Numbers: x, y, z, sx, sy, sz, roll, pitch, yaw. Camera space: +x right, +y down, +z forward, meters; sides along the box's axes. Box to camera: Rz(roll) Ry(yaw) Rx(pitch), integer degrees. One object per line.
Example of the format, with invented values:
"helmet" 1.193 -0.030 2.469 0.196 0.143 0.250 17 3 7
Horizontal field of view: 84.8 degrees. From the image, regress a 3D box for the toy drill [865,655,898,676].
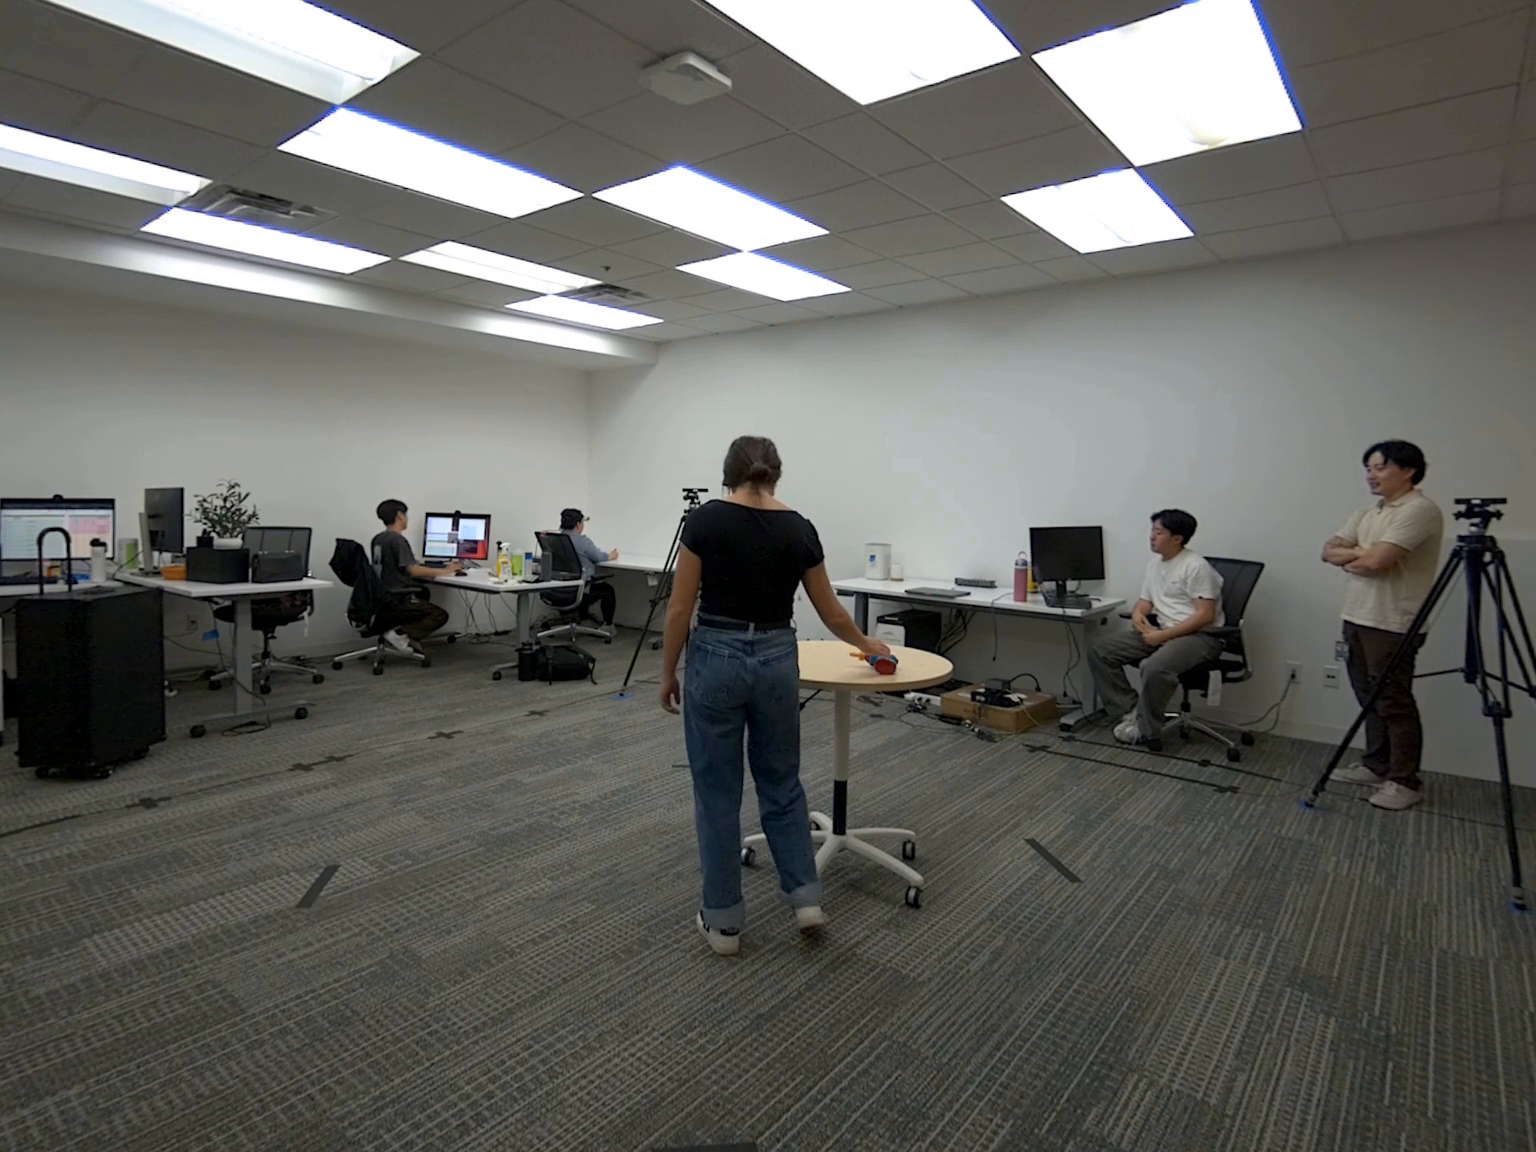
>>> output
"toy drill" 0.378 0.283 2.918 0.171 0.061 0.146 10 9 4
